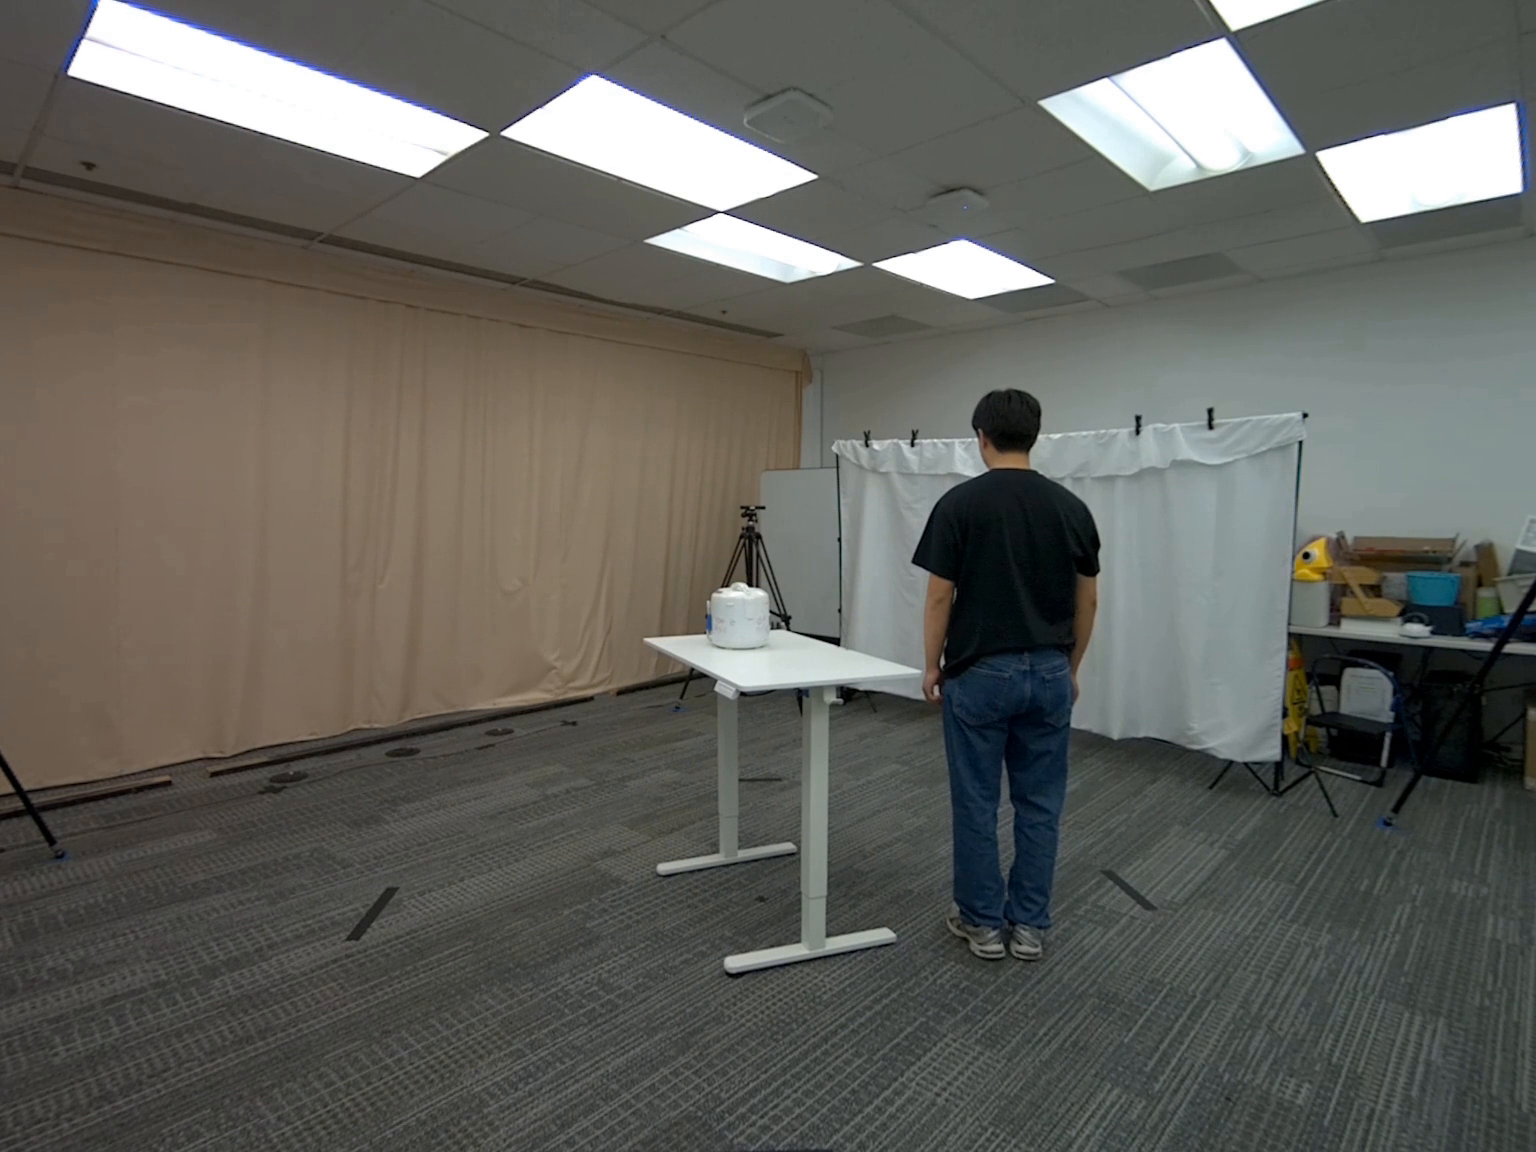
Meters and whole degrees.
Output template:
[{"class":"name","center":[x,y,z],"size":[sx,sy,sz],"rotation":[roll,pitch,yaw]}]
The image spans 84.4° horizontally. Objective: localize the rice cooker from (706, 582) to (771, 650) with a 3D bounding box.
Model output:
[{"class":"rice cooker","center":[-0.099,0.140,3.062],"size":[0.213,0.232,0.225],"rotation":[-1,4,-20]}]
